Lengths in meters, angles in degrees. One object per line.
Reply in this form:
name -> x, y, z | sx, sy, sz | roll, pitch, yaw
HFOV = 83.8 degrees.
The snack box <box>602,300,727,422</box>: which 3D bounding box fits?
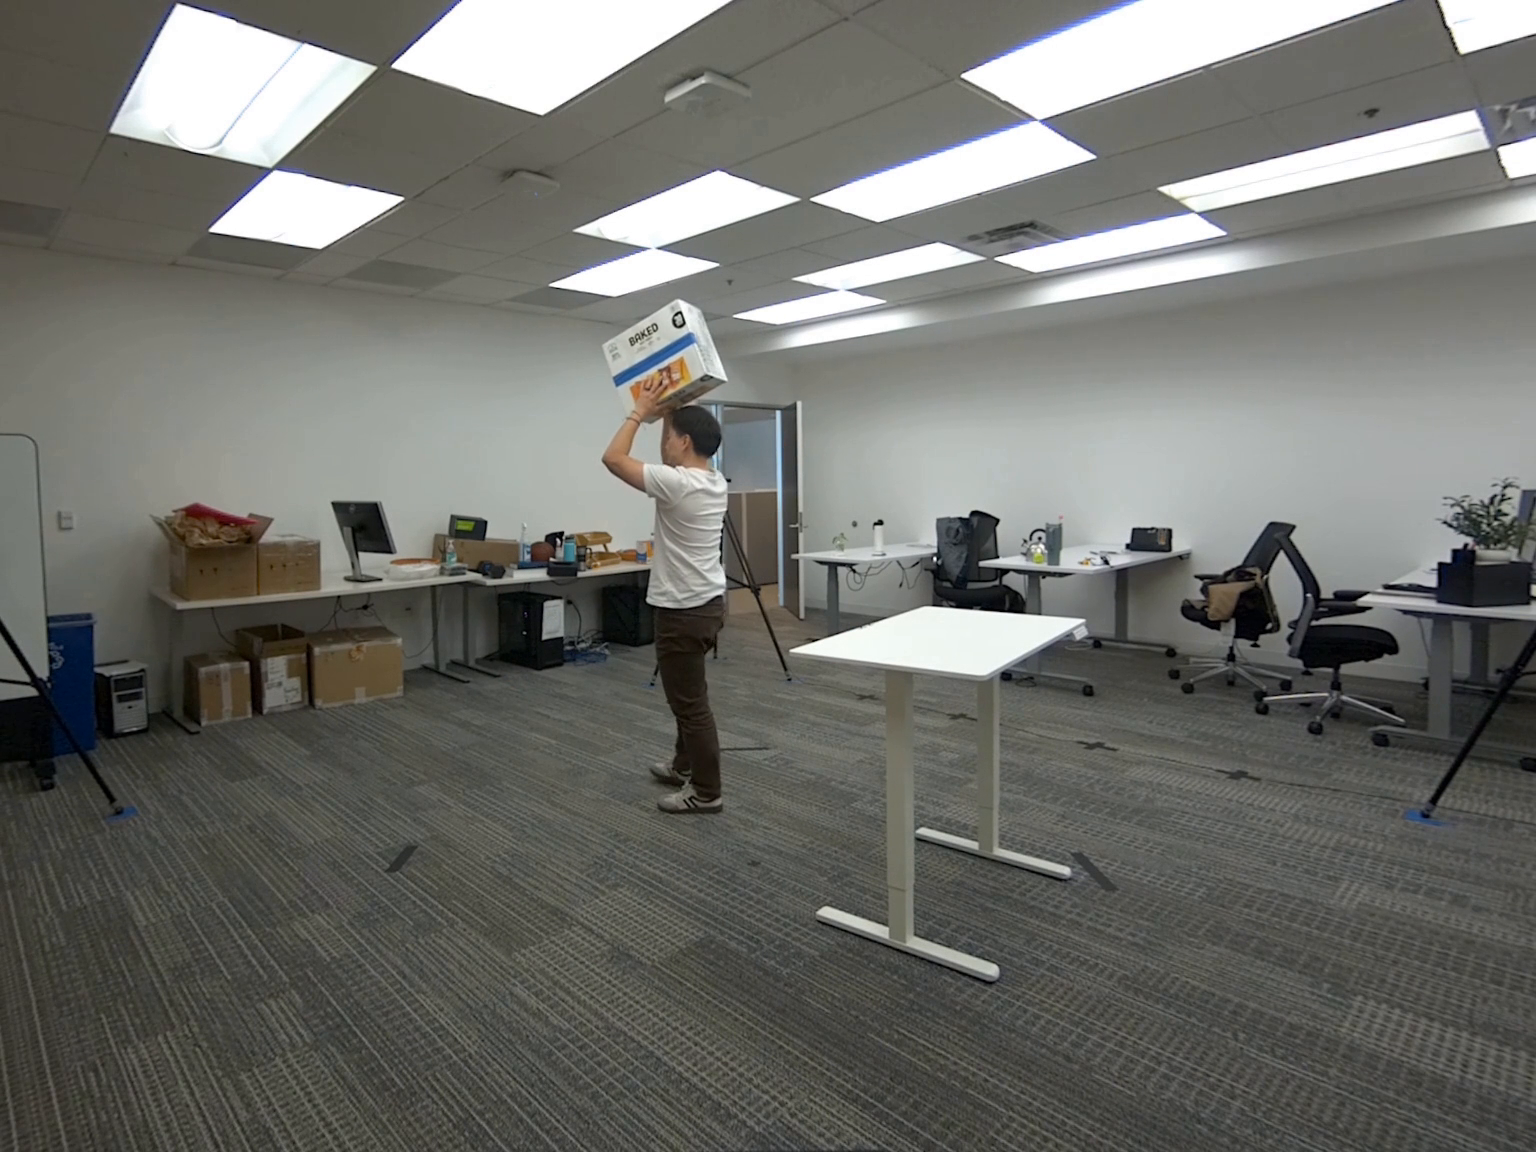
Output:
snack box -> -0.435, -0.885, 3.570 | 0.410, 0.344, 0.201 | -24, -10, 23
